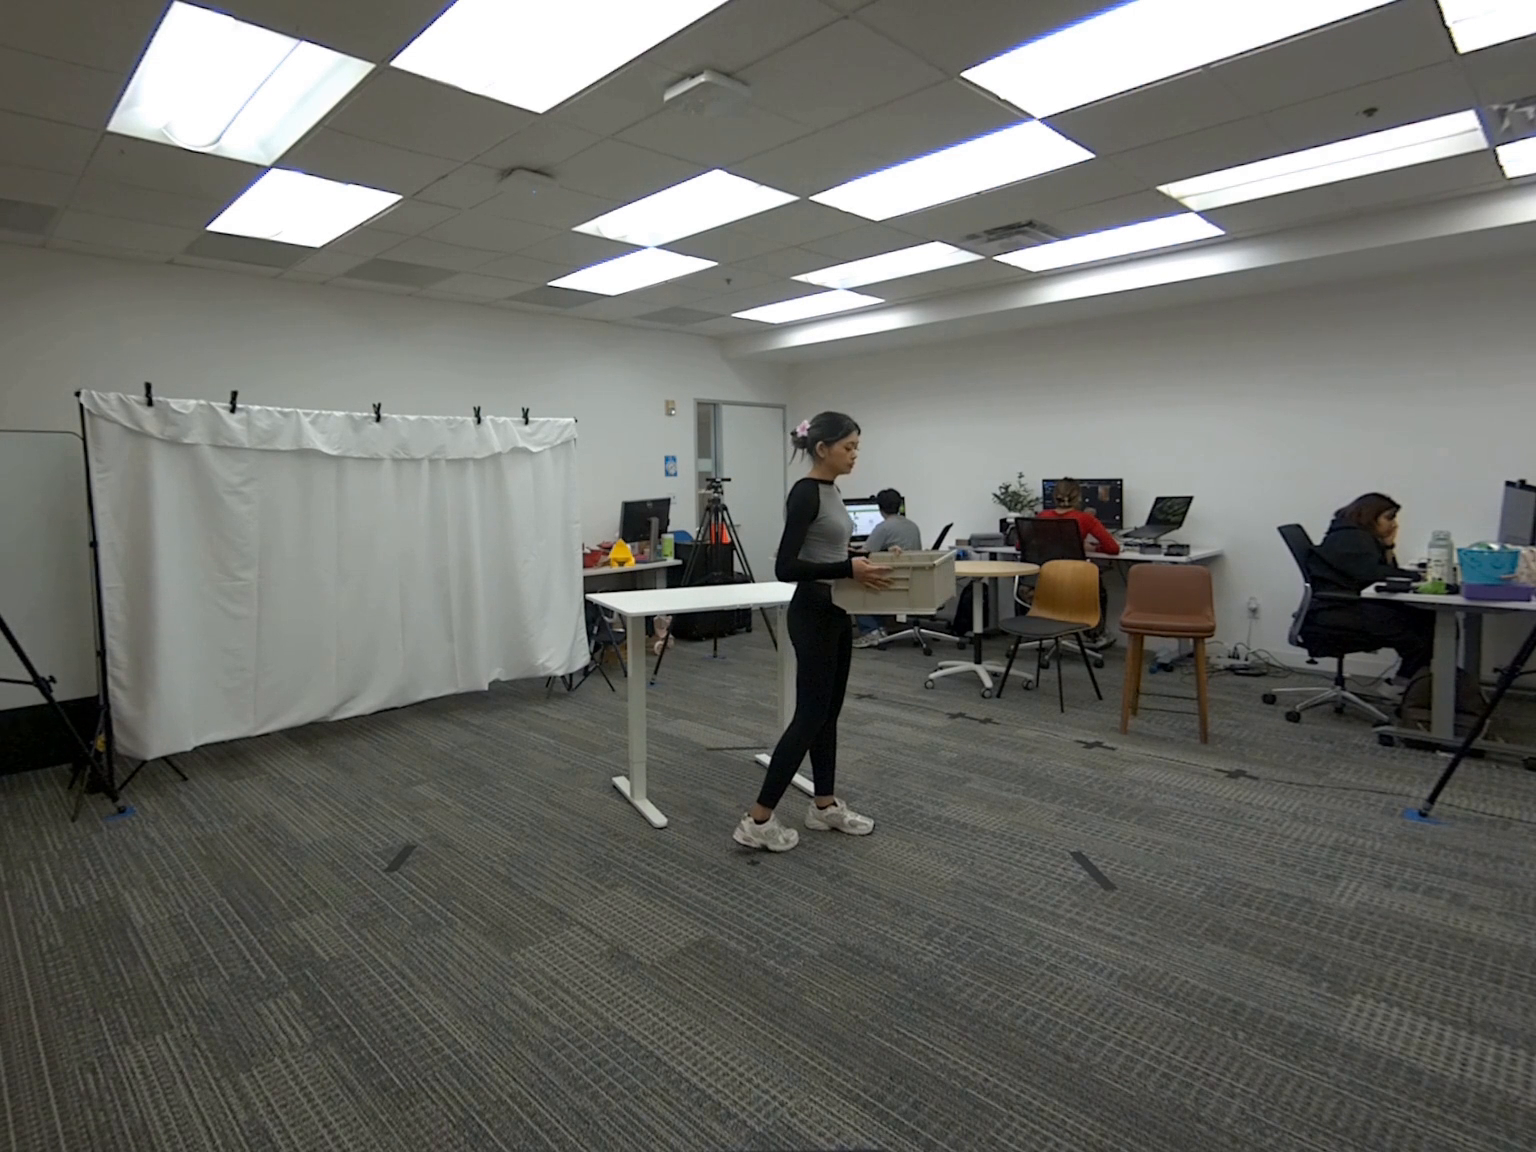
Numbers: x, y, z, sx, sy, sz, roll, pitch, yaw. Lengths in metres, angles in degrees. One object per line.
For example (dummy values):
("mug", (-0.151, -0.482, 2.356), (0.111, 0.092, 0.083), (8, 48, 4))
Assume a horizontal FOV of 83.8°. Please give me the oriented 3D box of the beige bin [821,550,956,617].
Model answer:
("beige bin", (0.480, 0.021, 3.163), (0.386, 0.188, 0.415), (0, 7, 24))
